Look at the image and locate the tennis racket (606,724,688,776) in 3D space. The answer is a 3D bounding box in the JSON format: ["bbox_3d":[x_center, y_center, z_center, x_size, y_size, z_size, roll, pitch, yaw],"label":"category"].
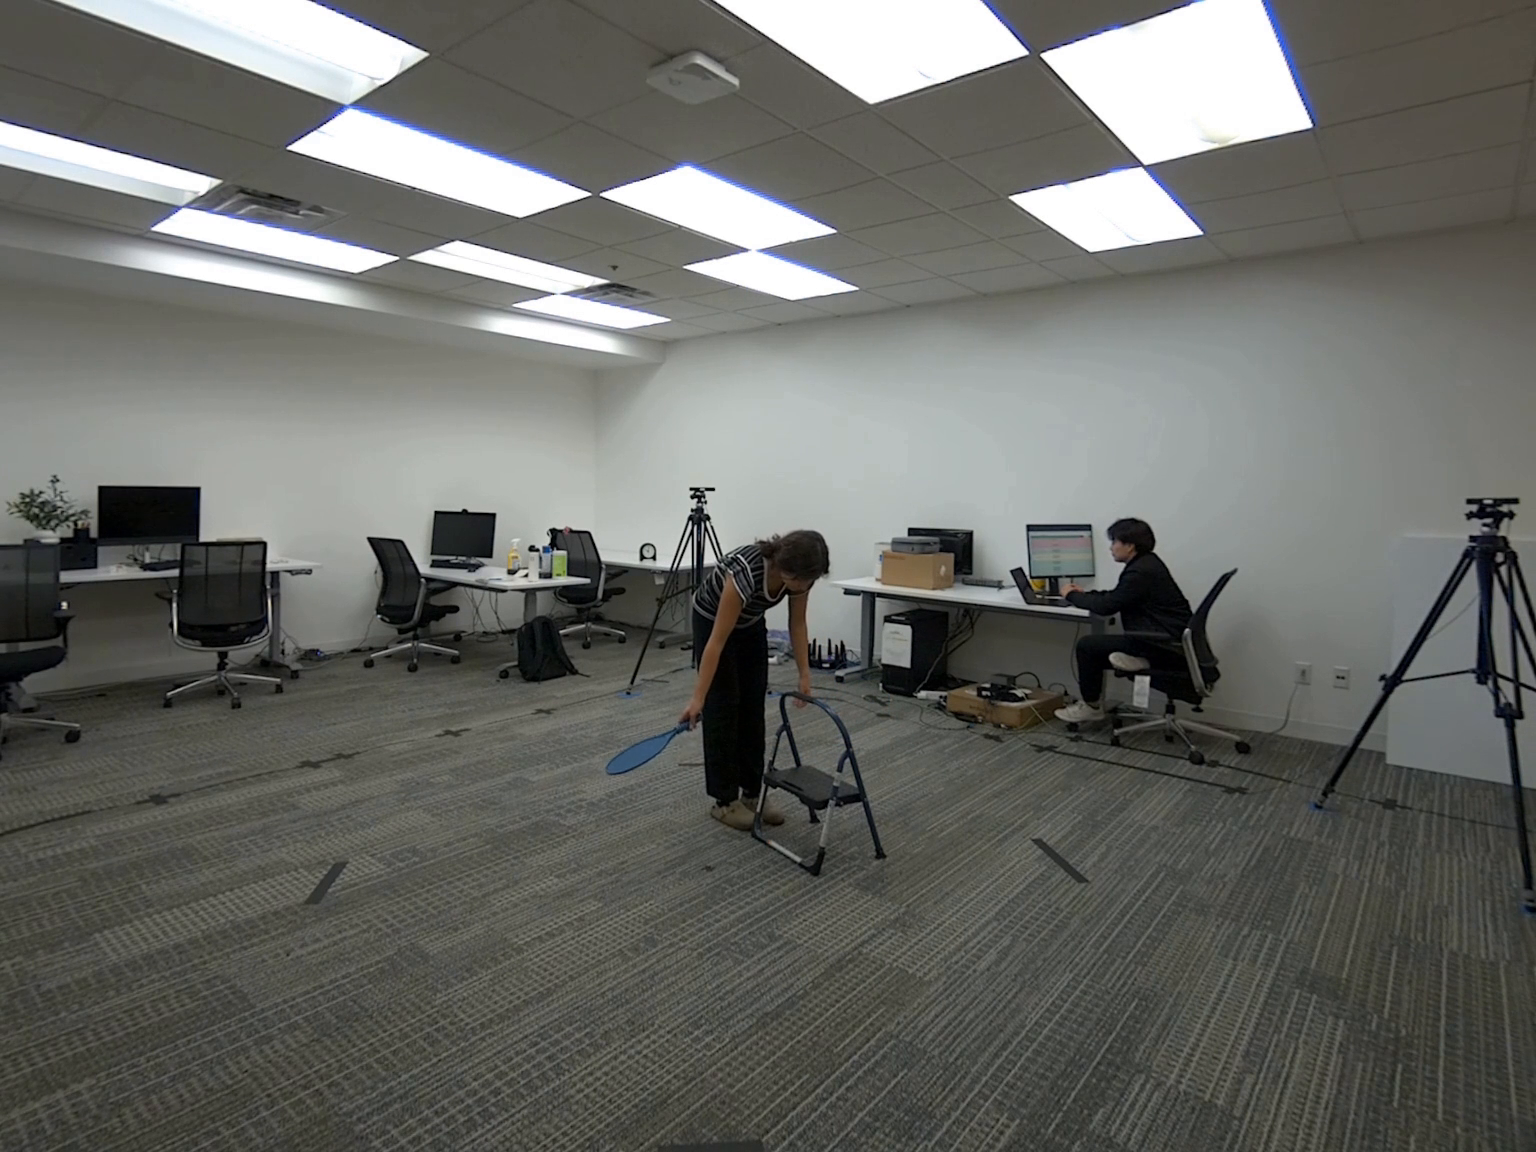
[{"bbox_3d":[-0.433,0.656,3.281,0.427,0.031,0.219,-28,13,-30],"label":"tennis racket"}]
